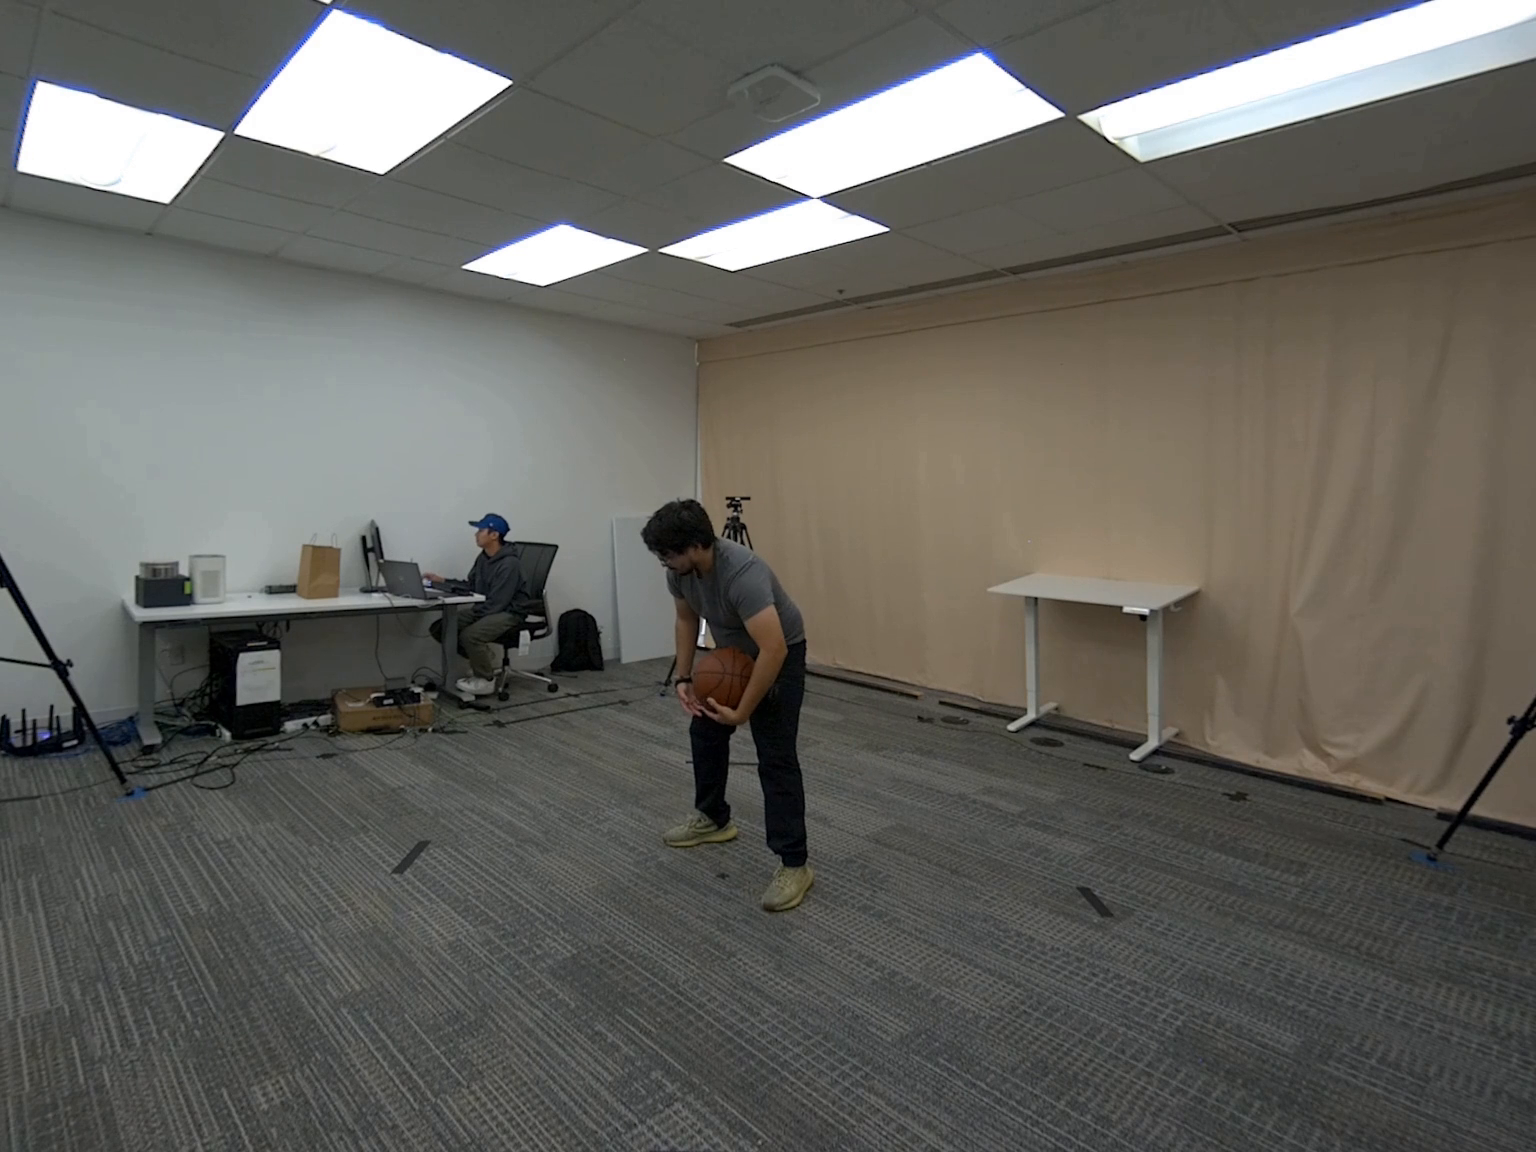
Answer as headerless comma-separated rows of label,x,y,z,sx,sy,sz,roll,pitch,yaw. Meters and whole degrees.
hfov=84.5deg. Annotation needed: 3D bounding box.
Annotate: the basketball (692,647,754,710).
basketball,-0.148,0.368,2.922,0.236,0.235,0.237,1,4,-1
